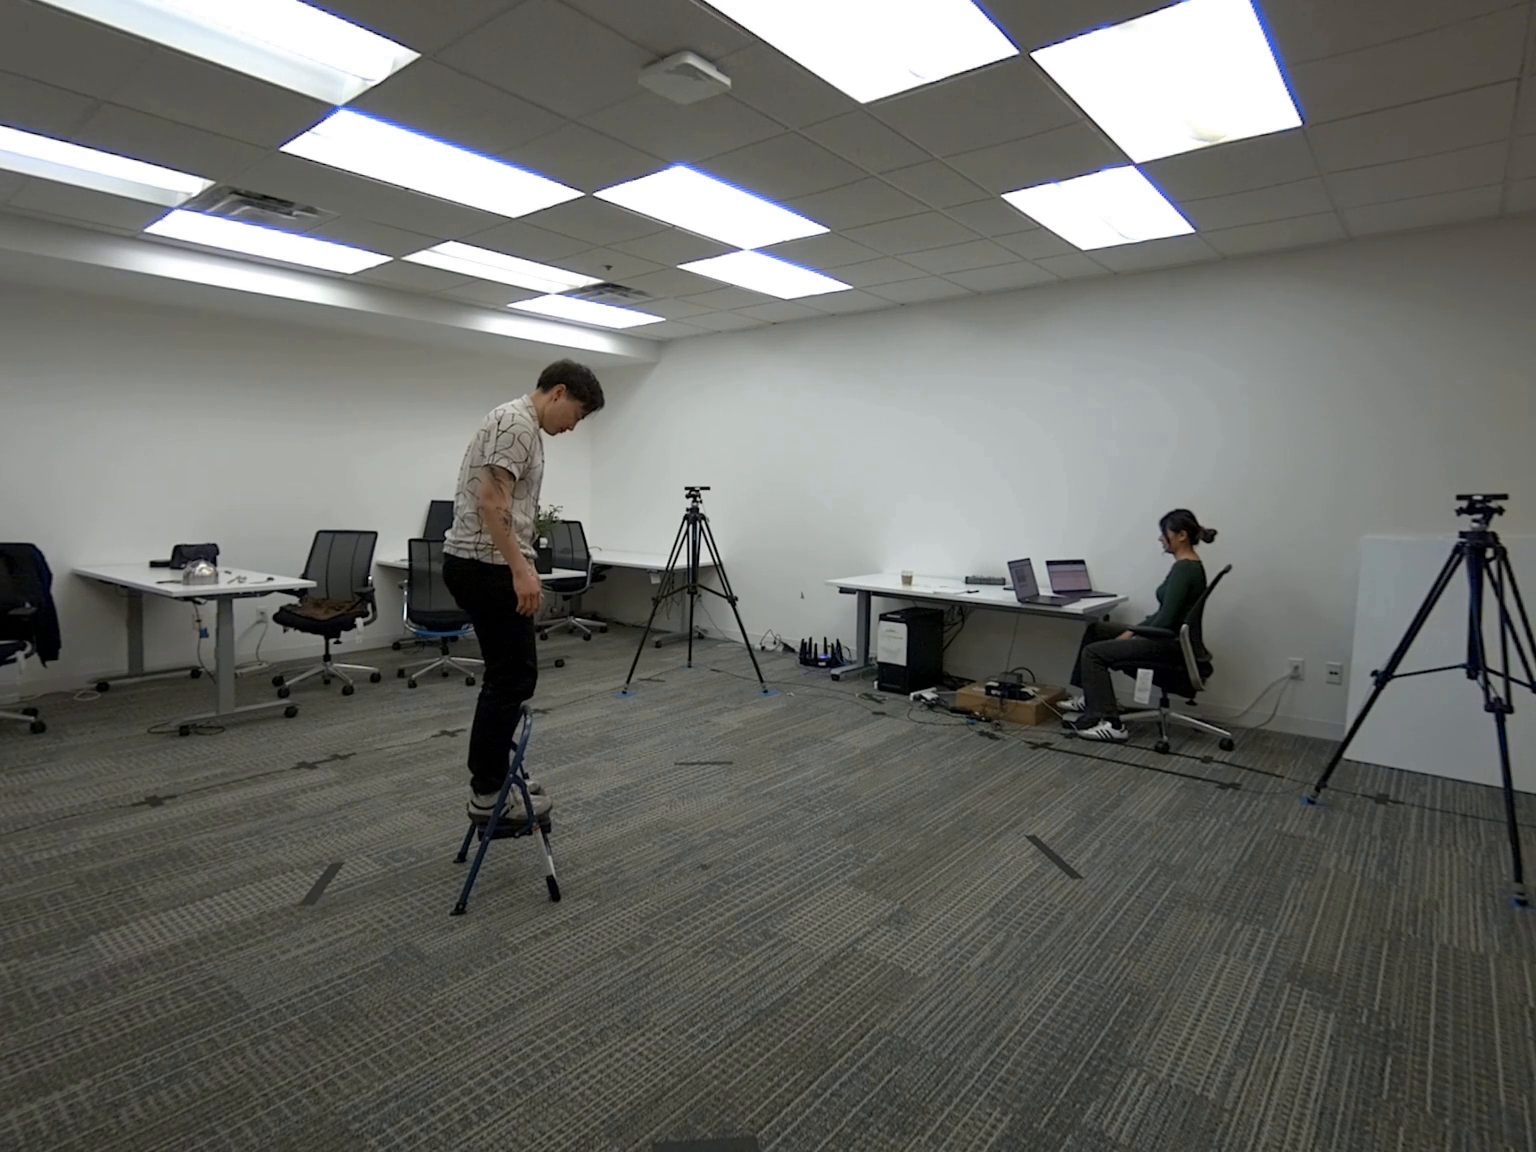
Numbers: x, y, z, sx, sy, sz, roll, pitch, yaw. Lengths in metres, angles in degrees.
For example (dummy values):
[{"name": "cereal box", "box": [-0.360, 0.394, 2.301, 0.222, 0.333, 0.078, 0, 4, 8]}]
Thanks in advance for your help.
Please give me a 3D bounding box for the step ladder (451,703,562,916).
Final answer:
[{"name": "step ladder", "box": [-0.930, 0.772, 2.975, 0.343, 0.604, 0.440, -1, 4, -19]}]
